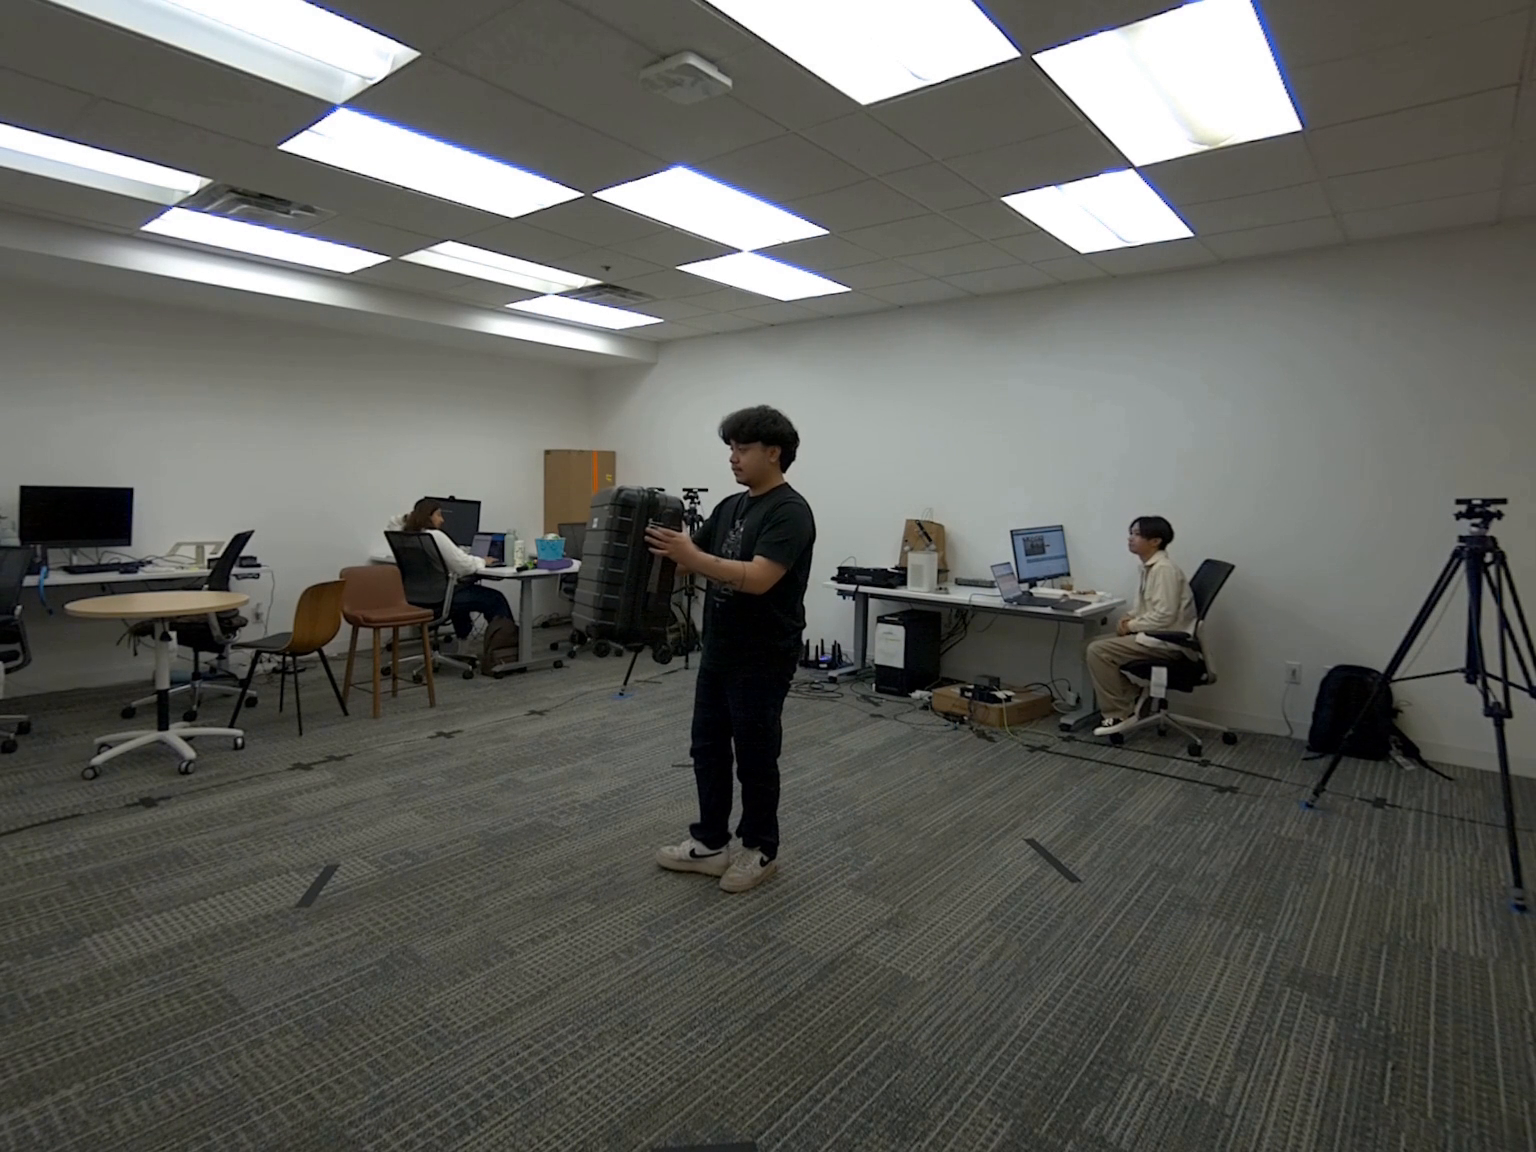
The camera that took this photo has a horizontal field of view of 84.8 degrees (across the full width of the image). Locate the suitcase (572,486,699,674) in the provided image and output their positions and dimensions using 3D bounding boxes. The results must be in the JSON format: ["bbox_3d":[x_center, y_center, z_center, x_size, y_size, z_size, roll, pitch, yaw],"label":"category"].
[{"bbox_3d":[-0.474,-0.018,2.773,0.242,0.550,0.385,9,-2,-25],"label":"suitcase"}]
